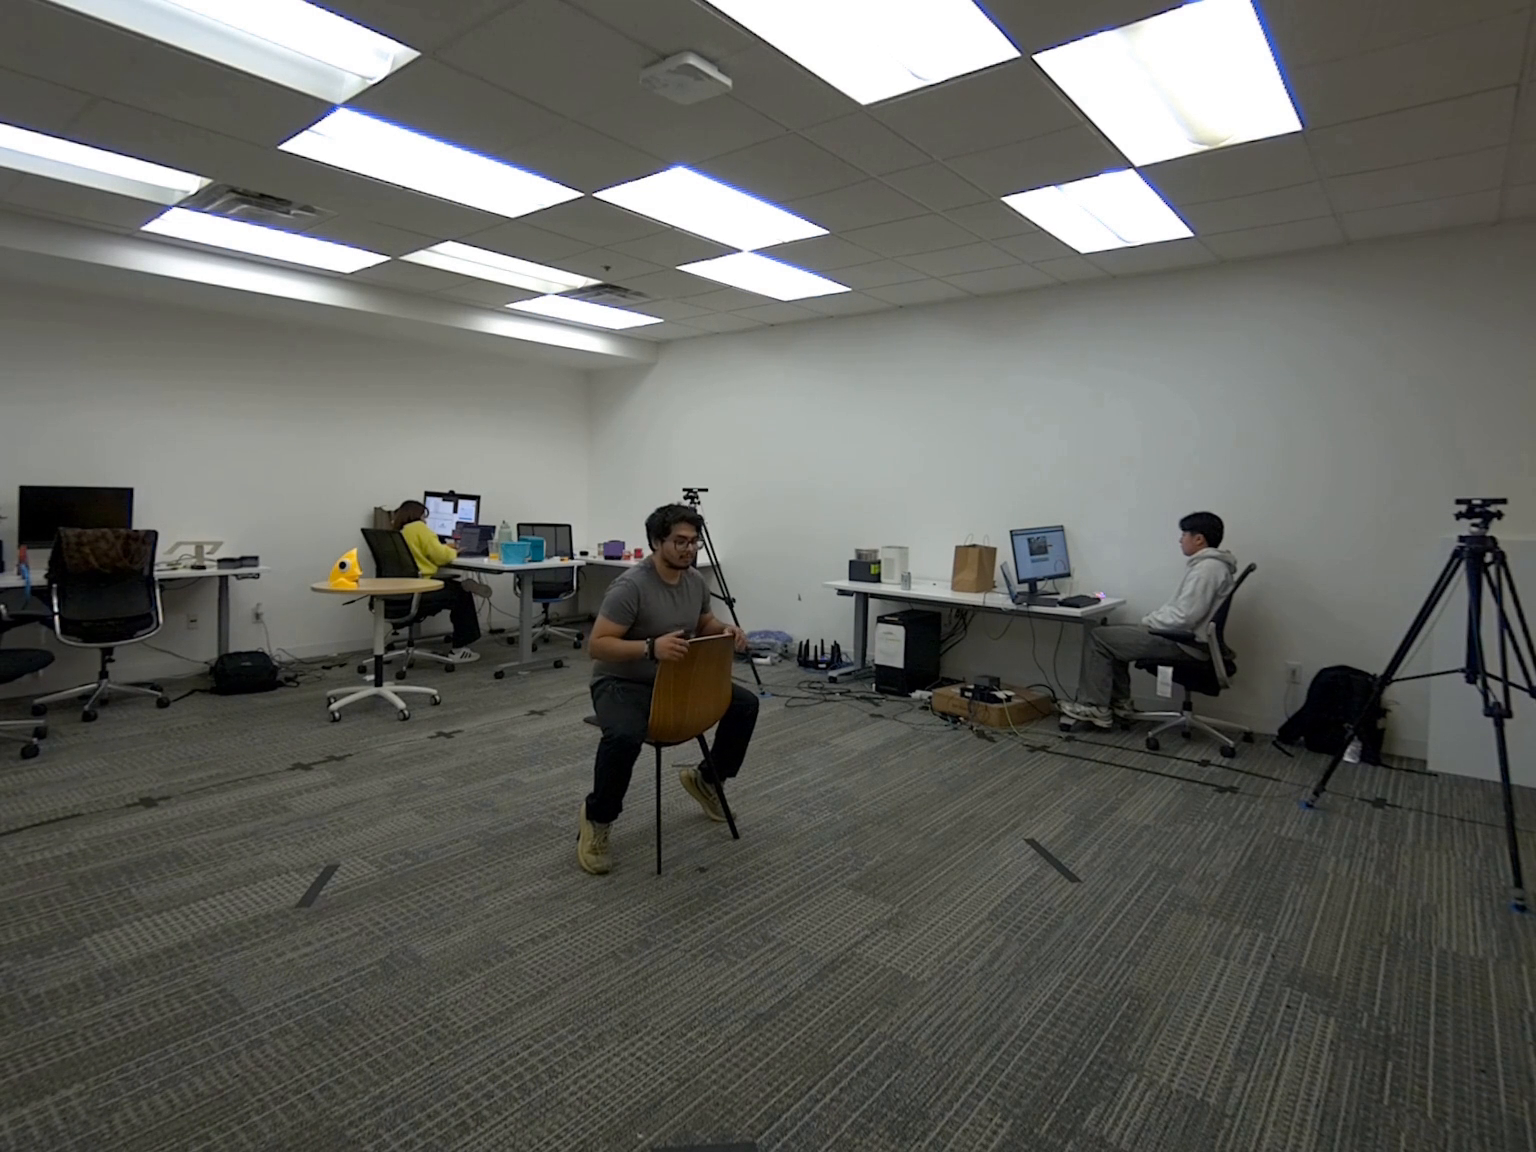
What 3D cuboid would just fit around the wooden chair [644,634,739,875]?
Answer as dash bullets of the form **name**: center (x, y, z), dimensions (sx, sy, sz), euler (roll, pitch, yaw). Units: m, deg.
- **wooden chair**: center (-0.440, 0.616, 3.346), dimensions (0.542, 0.873, 0.464), euler (9, 7, 39)
